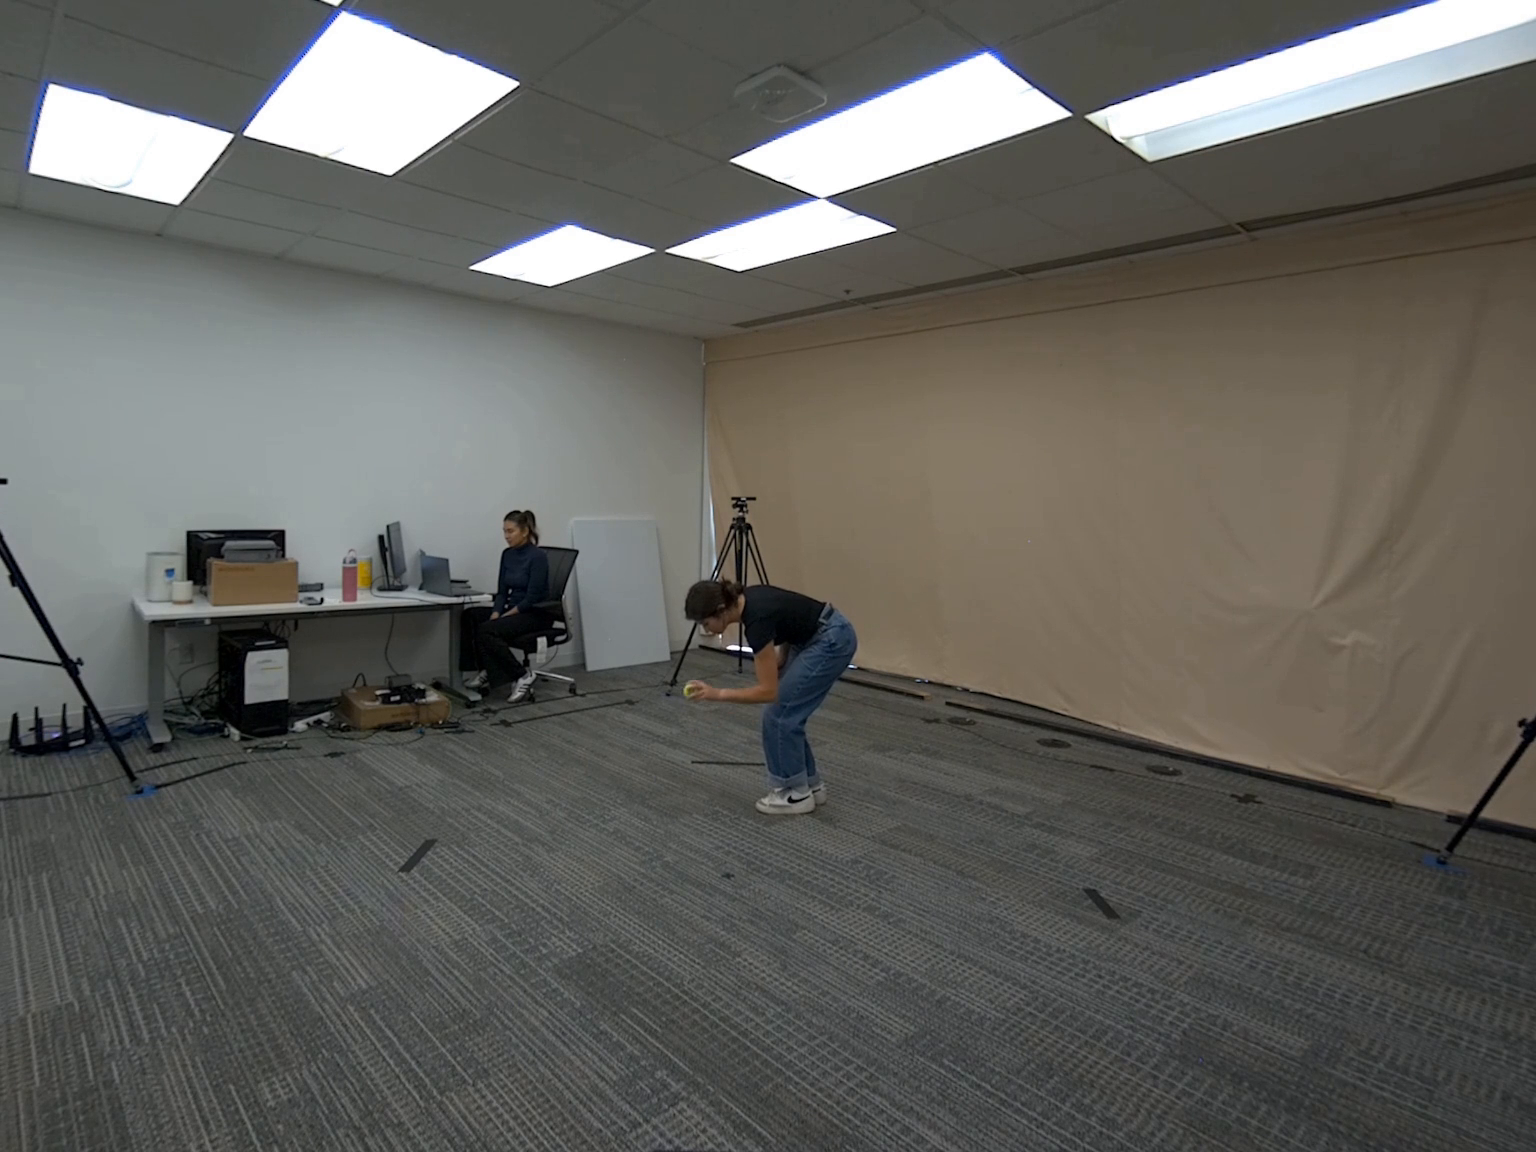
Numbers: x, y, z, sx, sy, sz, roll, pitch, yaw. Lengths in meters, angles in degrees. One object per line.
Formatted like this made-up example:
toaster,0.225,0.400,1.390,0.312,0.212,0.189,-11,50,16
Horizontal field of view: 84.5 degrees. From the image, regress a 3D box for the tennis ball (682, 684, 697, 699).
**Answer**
tennis ball,-0.318,0.529,3.545,0.066,0.066,0.067,1,4,-1
